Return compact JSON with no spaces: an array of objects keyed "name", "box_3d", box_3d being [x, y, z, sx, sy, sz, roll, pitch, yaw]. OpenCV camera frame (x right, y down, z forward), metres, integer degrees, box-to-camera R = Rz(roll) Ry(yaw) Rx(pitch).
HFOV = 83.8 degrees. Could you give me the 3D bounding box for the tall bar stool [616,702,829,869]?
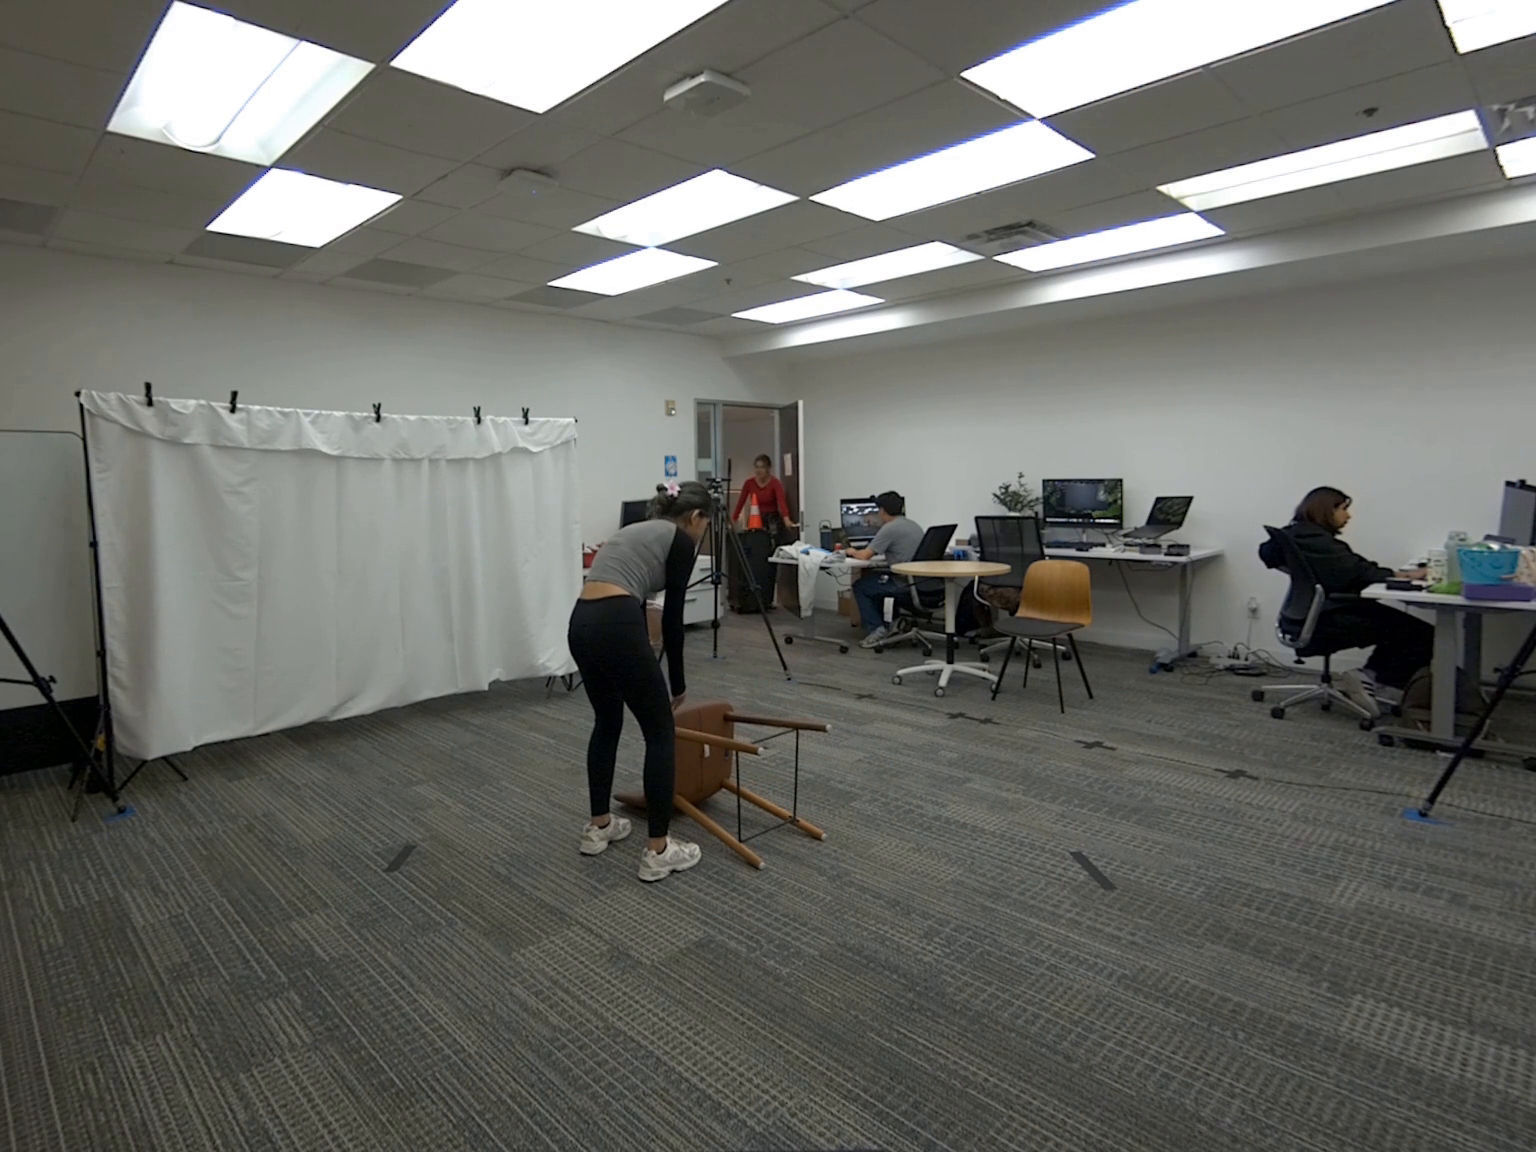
[{"name":"tall bar stool","box_3d":[-0.216,0.776,3.466,0.917,0.466,0.444,4,7,45]}]
